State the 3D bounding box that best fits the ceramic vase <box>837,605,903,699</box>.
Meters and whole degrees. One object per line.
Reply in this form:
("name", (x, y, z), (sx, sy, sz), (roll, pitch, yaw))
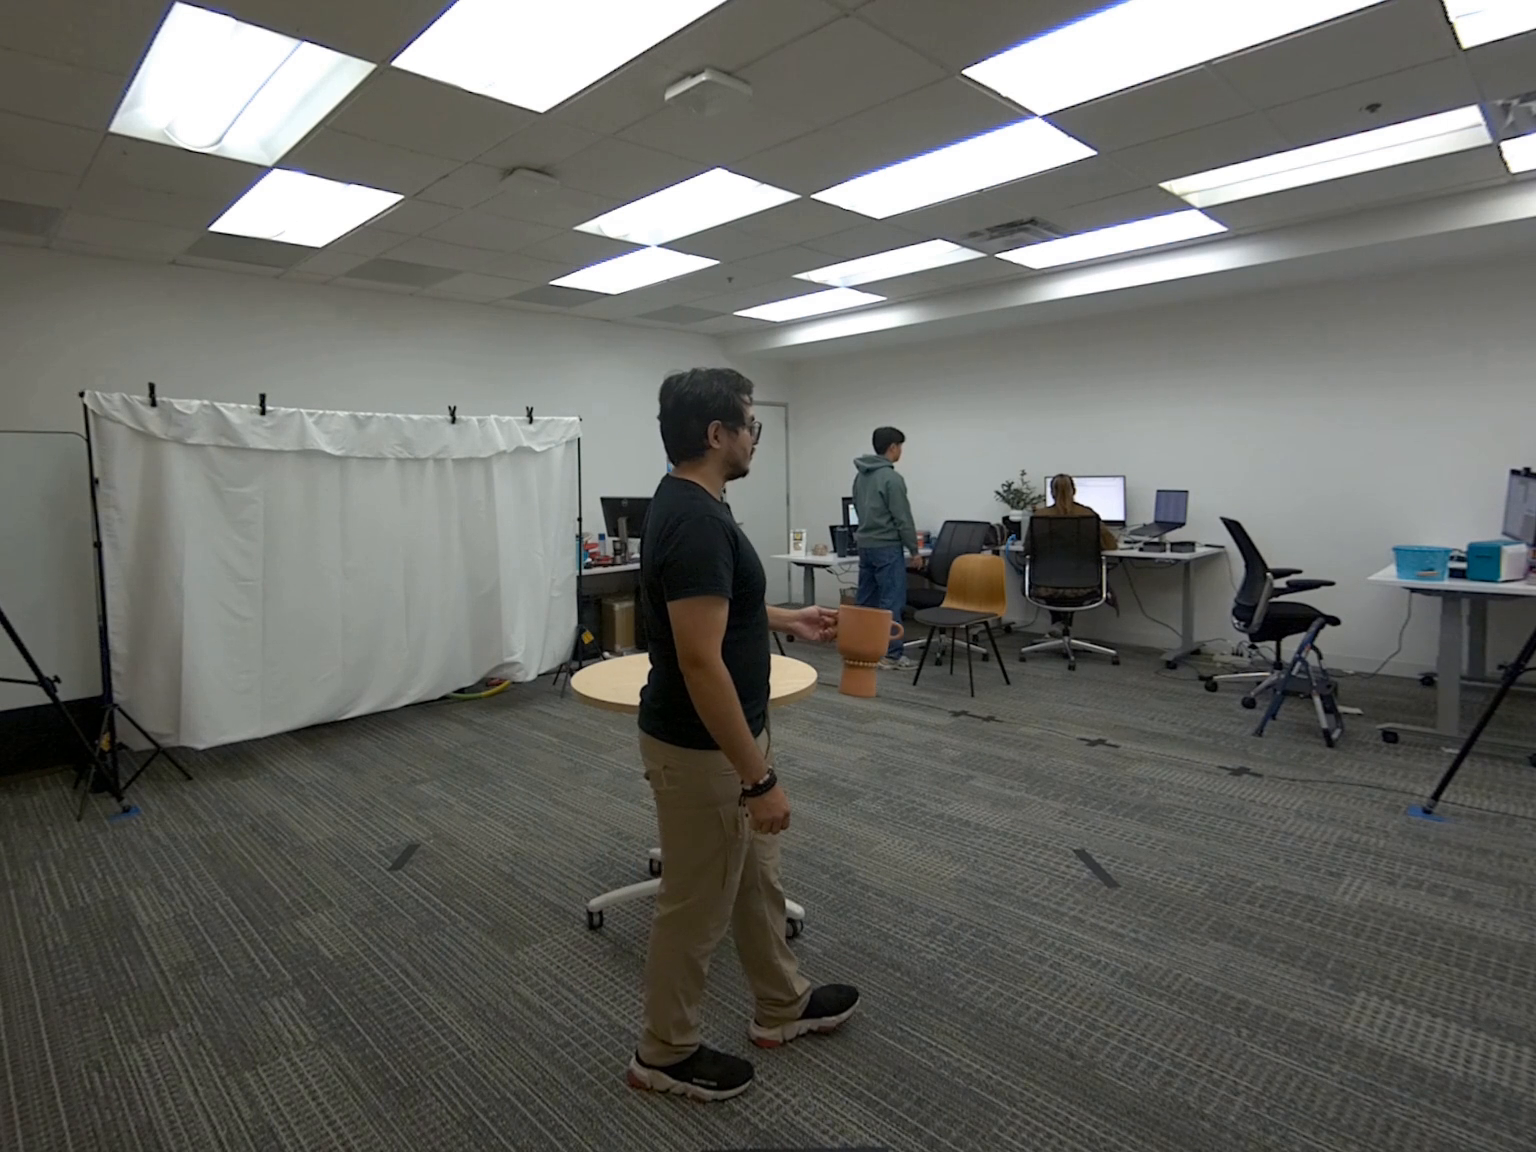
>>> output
("ceramic vase", (0.251, 0.191, 2.171), (0.164, 0.220, 0.130), (3, -2, 44))
